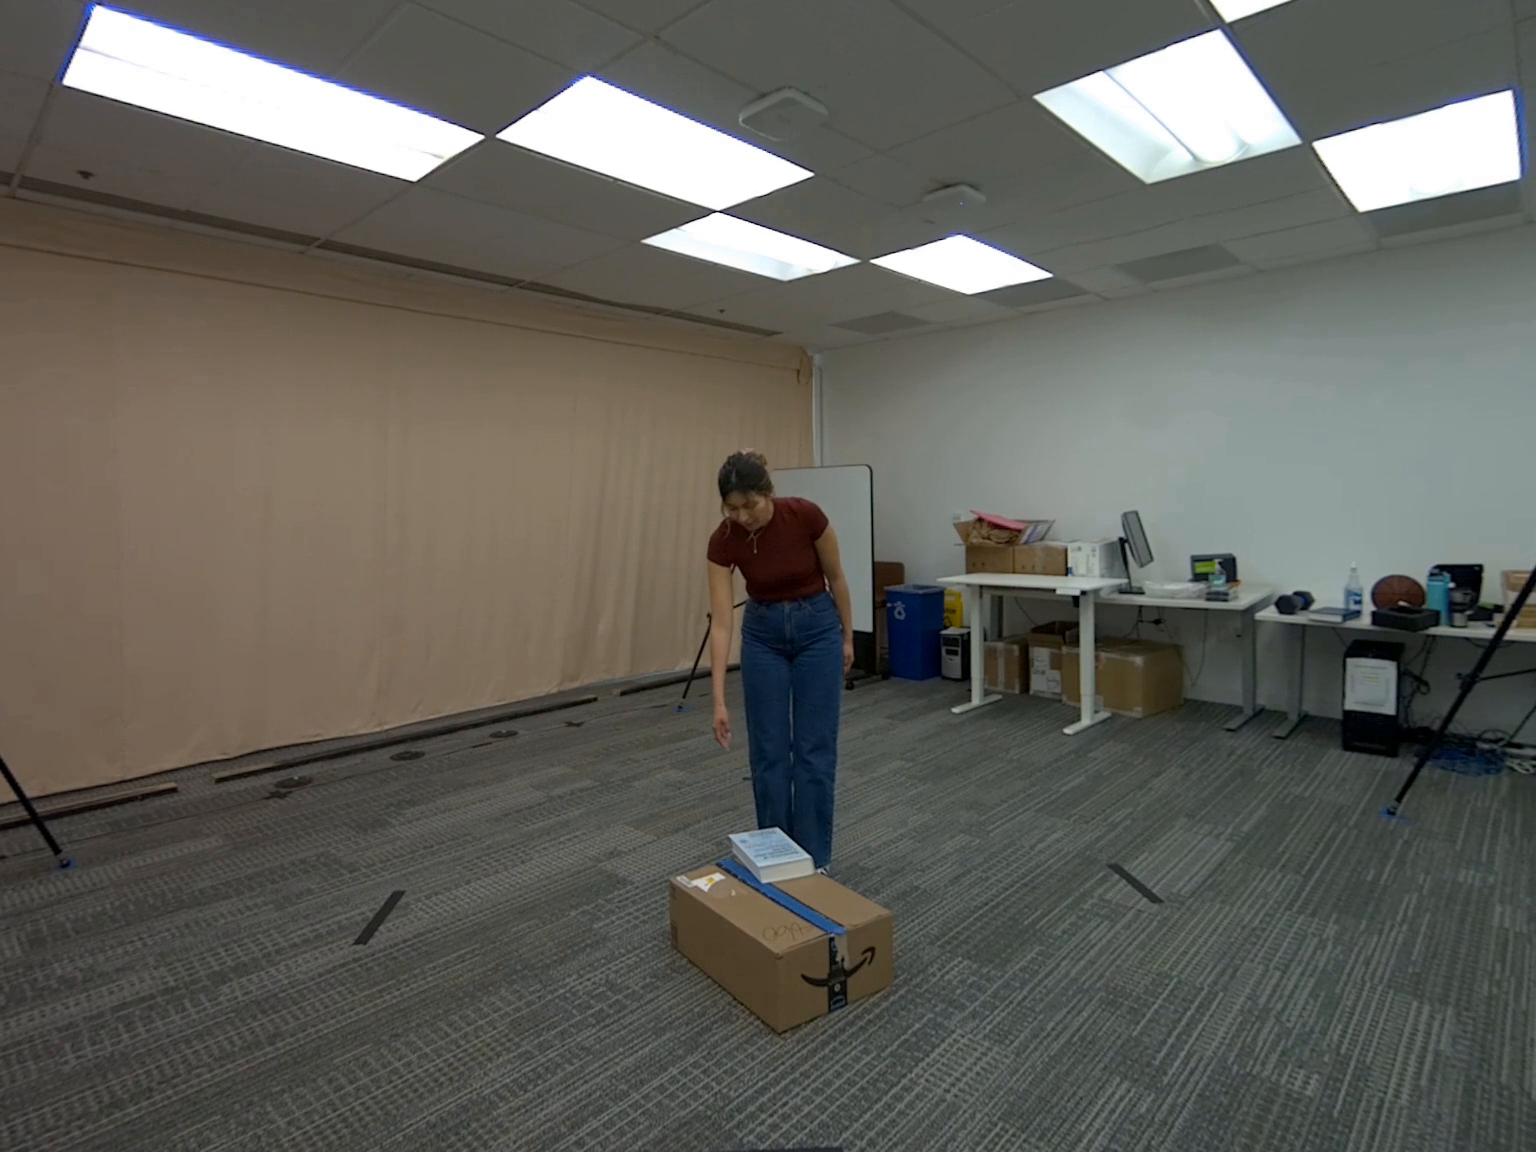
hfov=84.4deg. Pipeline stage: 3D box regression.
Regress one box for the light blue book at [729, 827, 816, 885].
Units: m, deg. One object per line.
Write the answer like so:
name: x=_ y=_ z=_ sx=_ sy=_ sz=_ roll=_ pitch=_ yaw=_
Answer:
light blue book: x=0.010 y=0.901 z=2.765 sx=0.187 sy=0.059 sz=0.268 roll=-3 pitch=6 yaw=-24
